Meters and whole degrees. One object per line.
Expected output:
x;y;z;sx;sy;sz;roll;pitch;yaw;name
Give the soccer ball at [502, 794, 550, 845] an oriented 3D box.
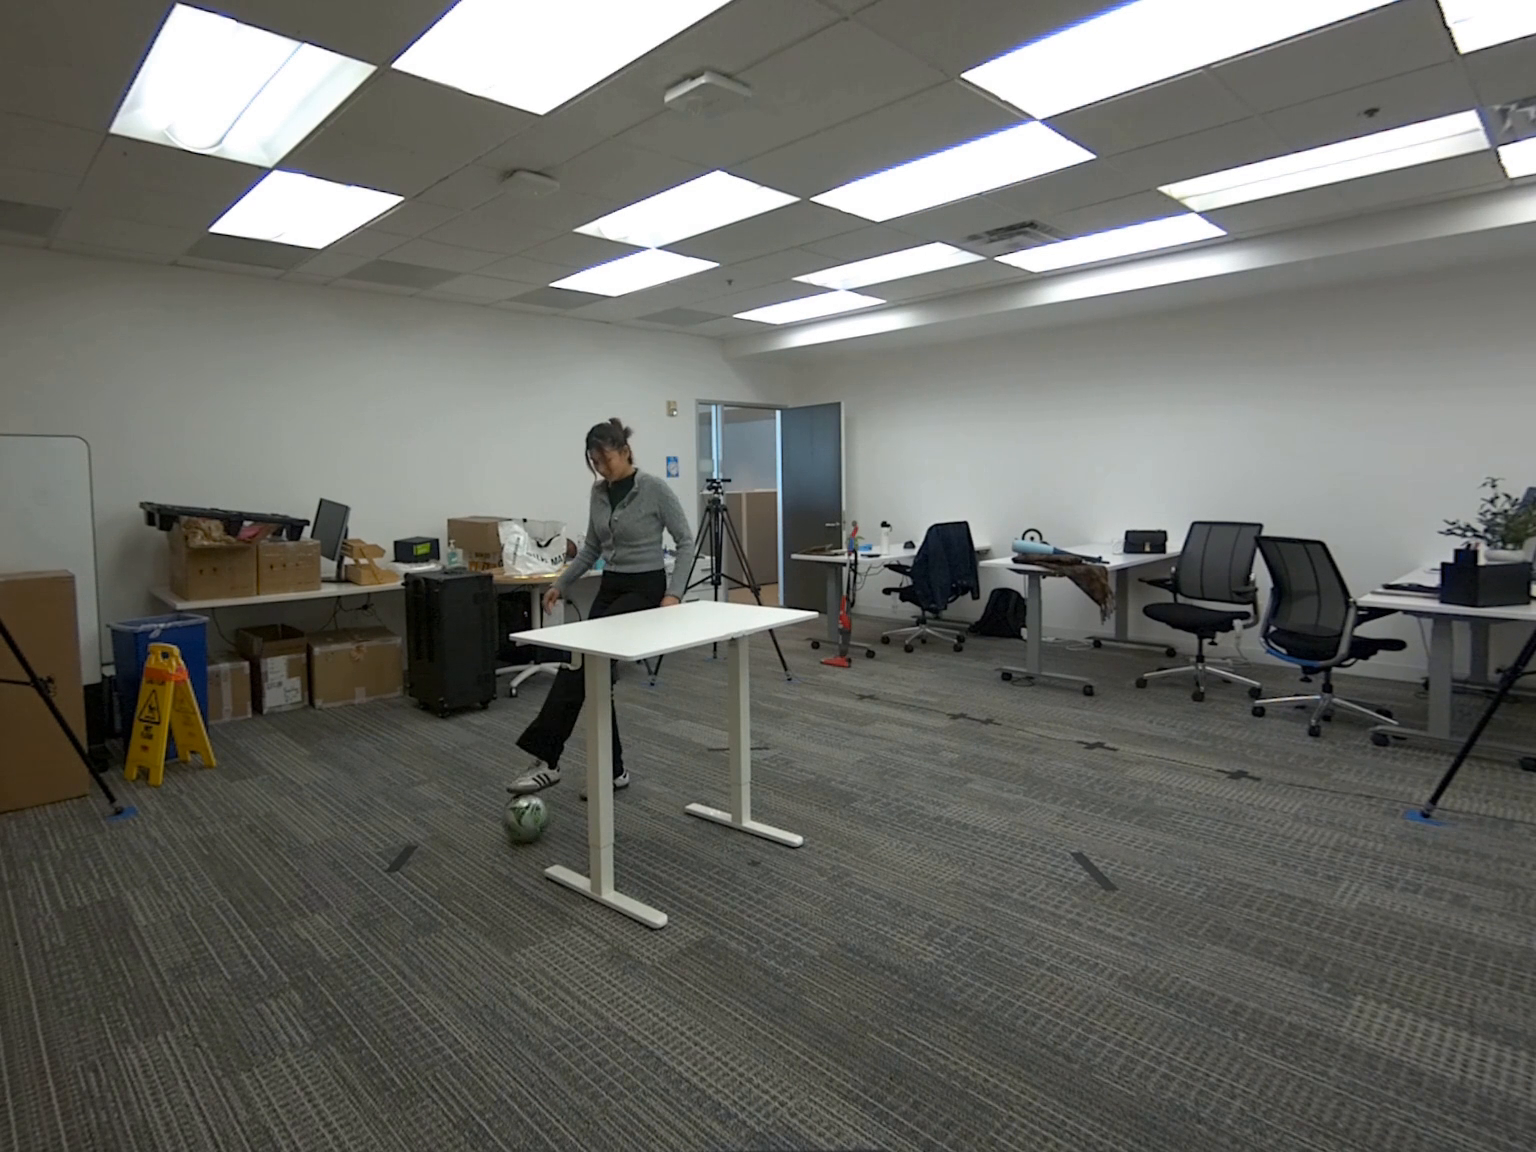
-0.927;0.945;3.334;0.187;0.187;0.188;-1;5;-2;soccer ball
